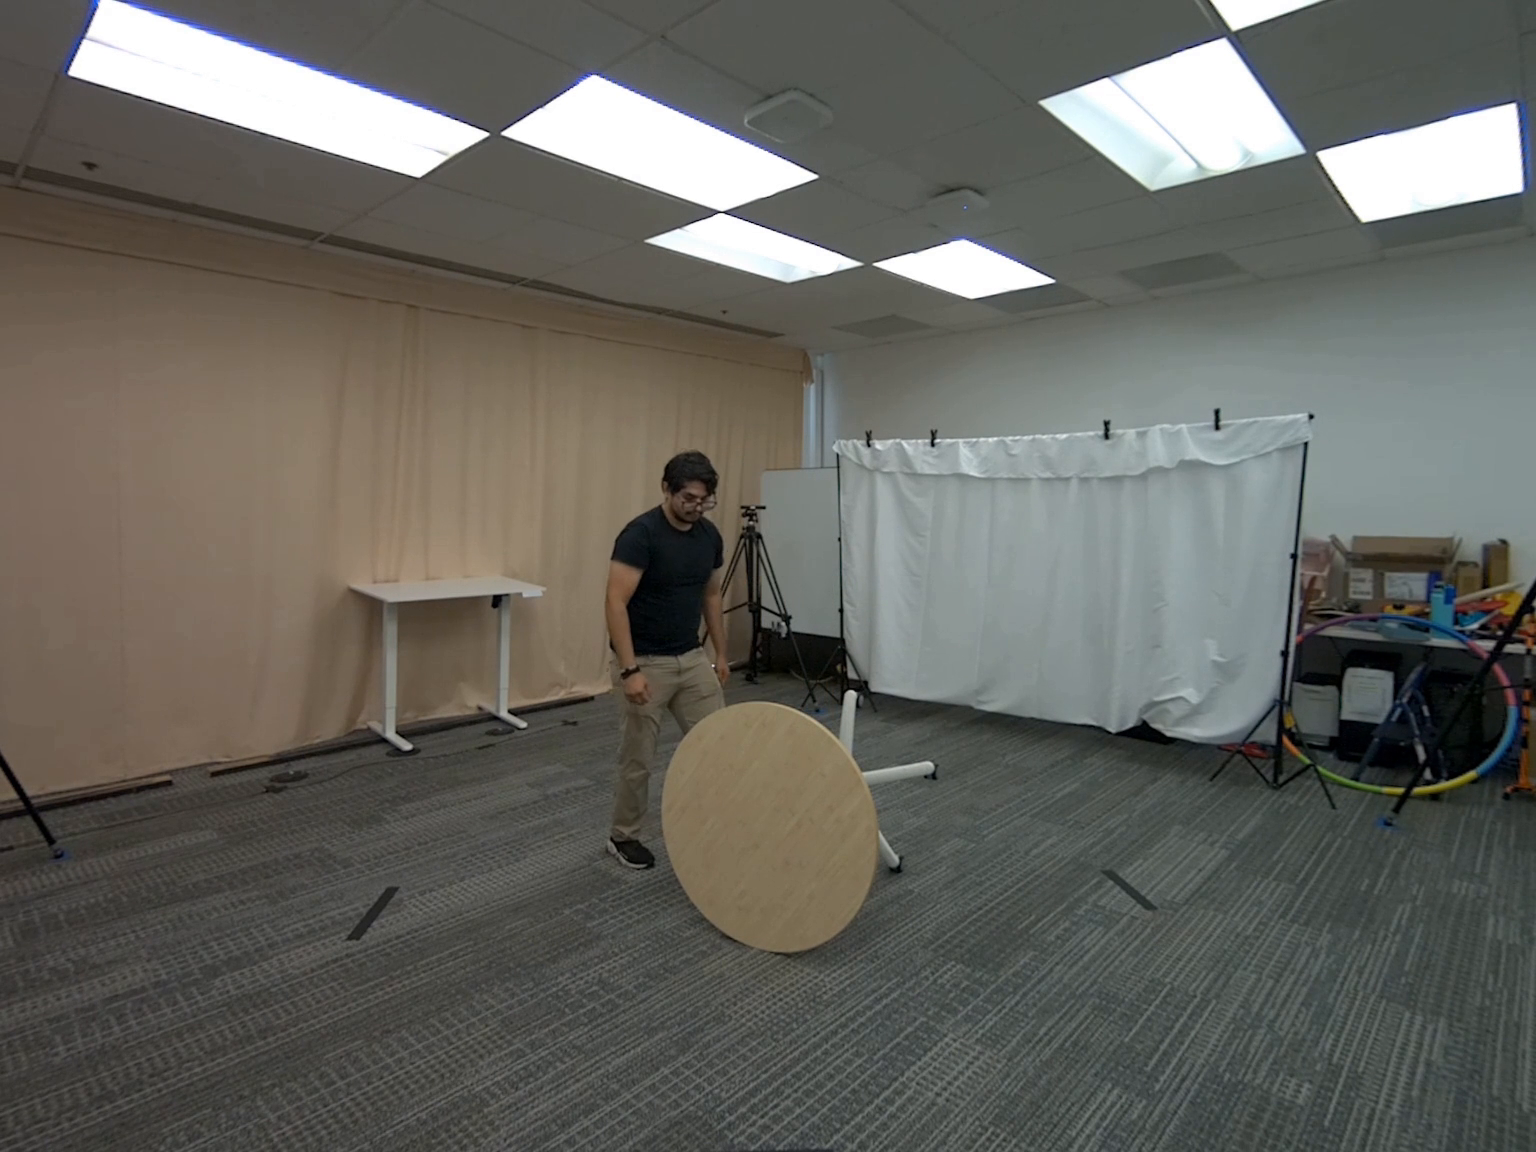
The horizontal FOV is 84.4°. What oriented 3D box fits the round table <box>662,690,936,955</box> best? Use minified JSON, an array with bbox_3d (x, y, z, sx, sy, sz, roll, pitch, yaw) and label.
[{"bbox_3d":[0.167,0.785,2.997,0.808,0.785,0.764,2,0,29],"label":"round table"}]
